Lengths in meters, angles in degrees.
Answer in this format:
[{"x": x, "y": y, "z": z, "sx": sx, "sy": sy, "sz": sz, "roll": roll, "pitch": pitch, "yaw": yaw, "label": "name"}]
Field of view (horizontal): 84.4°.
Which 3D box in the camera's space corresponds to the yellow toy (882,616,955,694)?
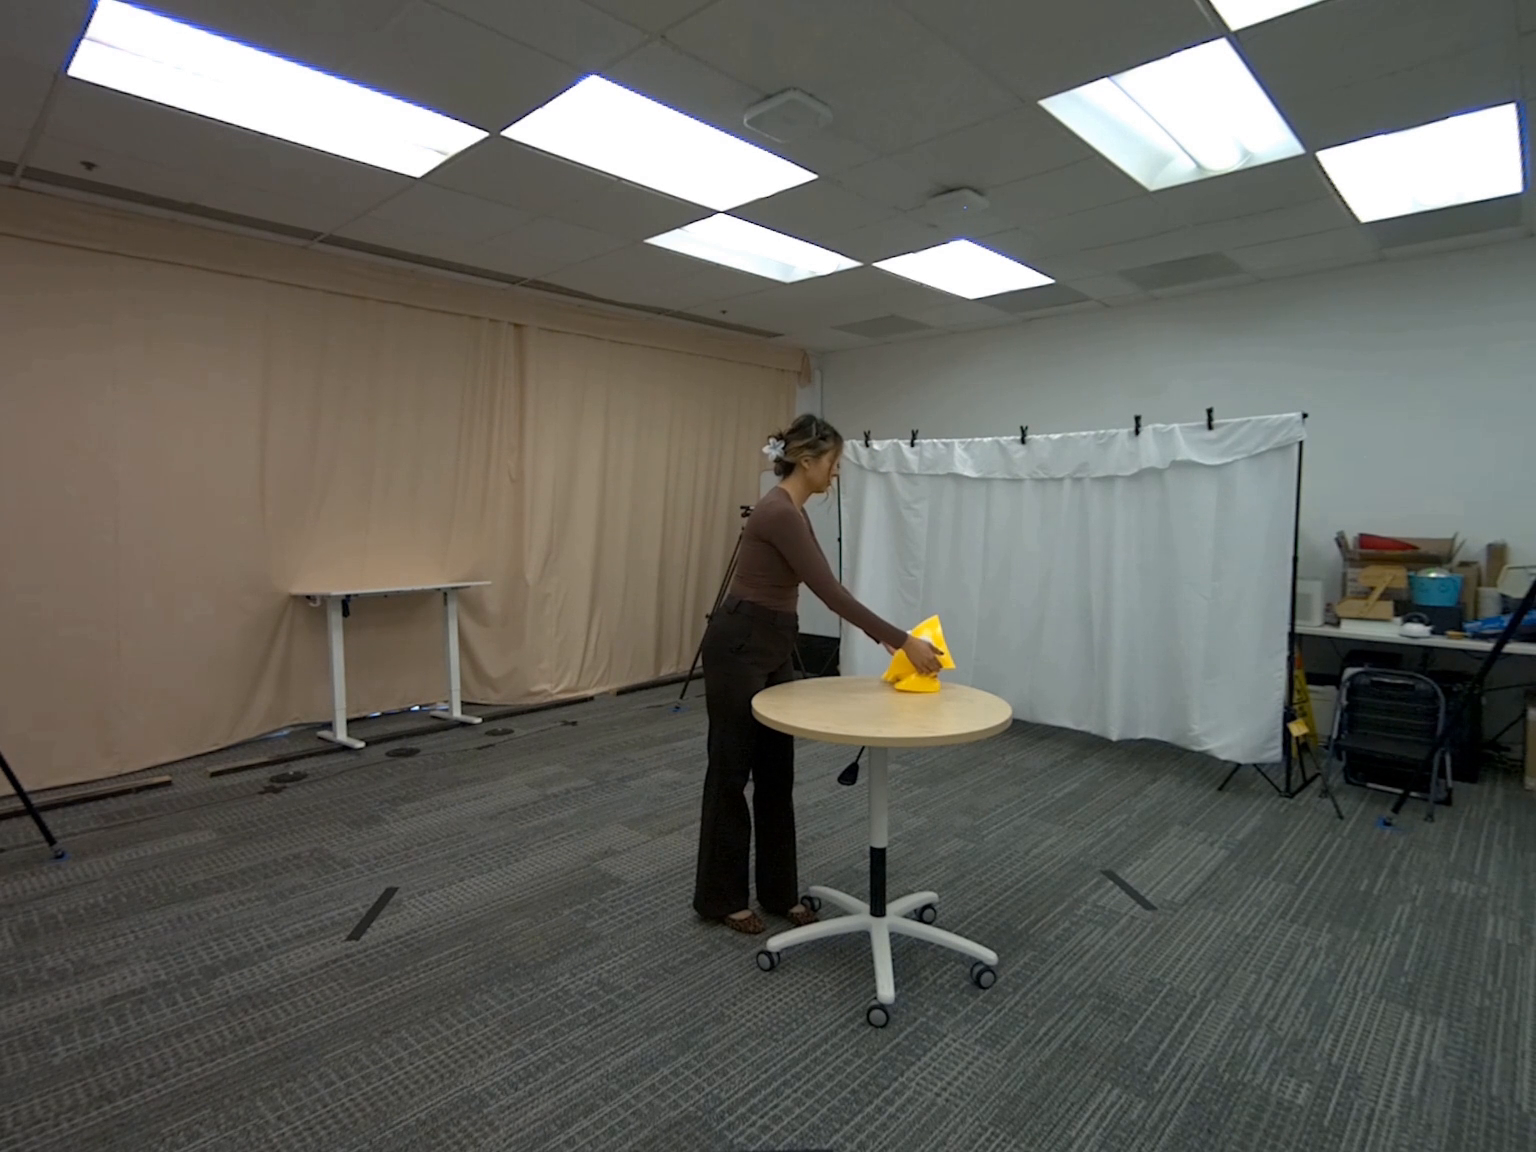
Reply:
[{"x": 0.495, "y": 0.242, "z": 2.744, "sx": 0.191, "sy": 0.230, "sz": 0.207, "roll": 3, "pitch": 5, "yaw": -10, "label": "yellow toy"}]
